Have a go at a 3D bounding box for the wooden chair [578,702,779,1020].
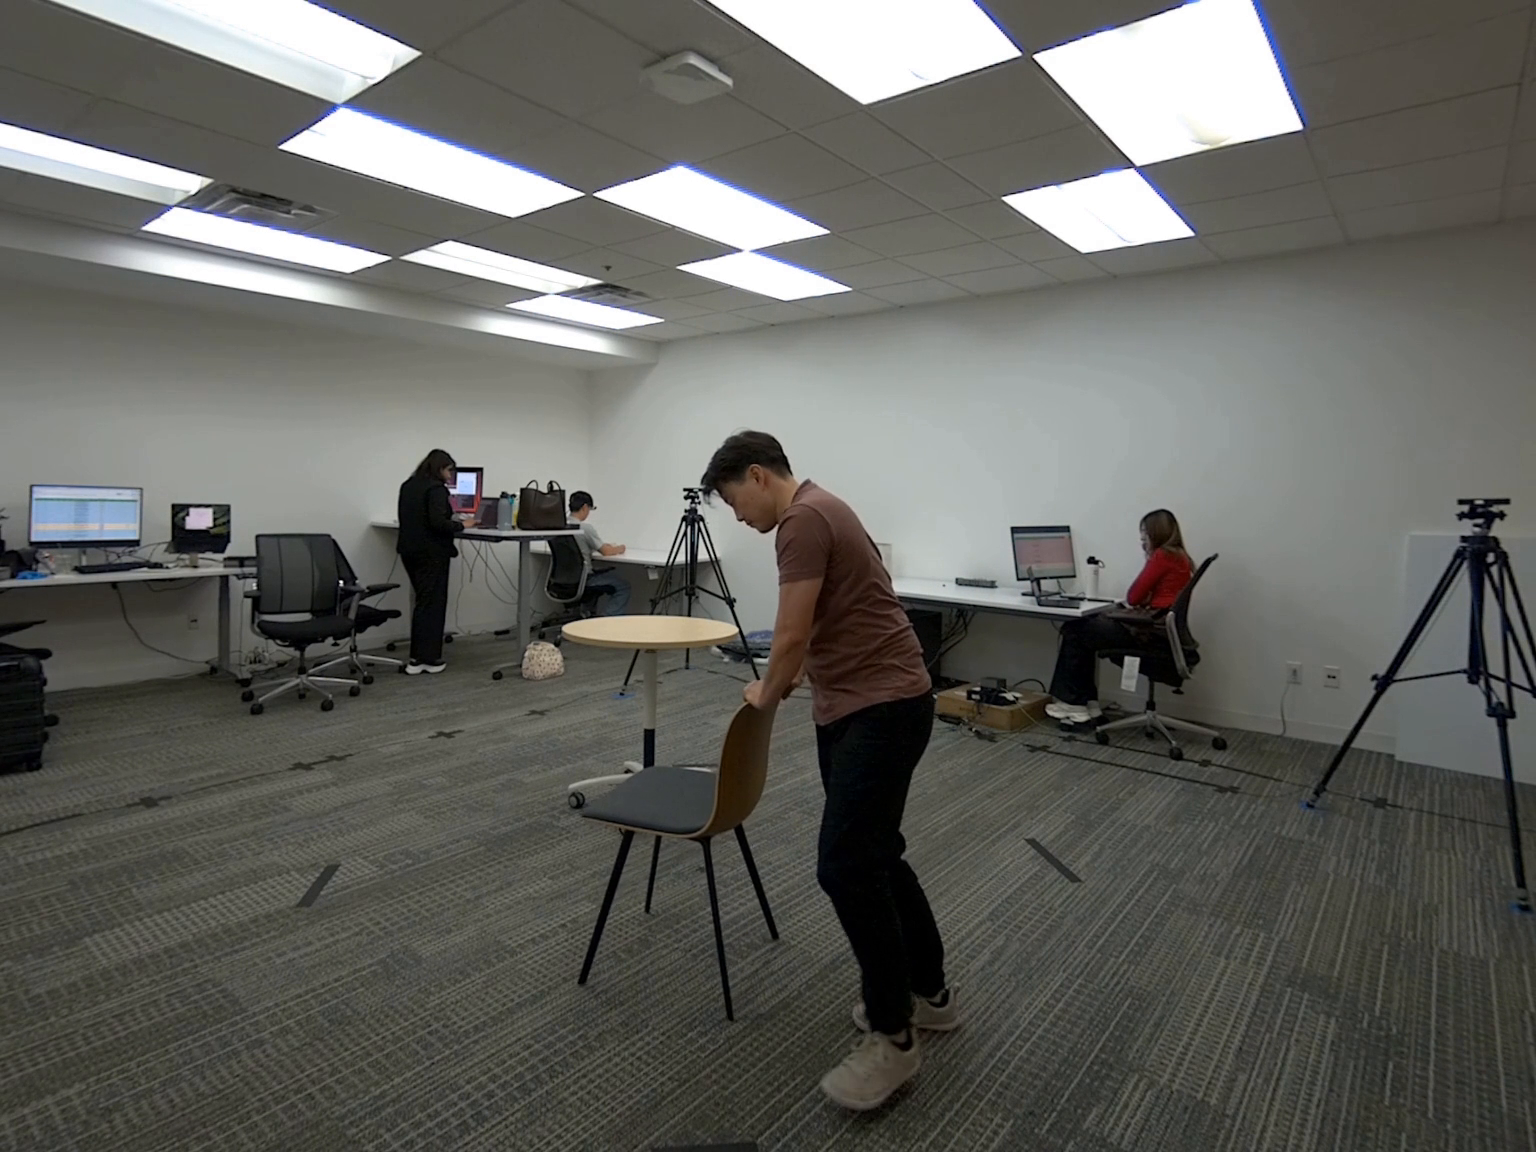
[{"bbox_3d":[-0.252,0.704,2.487,0.535,0.874,0.469,7,5,19],"label":"wooden chair"}]
